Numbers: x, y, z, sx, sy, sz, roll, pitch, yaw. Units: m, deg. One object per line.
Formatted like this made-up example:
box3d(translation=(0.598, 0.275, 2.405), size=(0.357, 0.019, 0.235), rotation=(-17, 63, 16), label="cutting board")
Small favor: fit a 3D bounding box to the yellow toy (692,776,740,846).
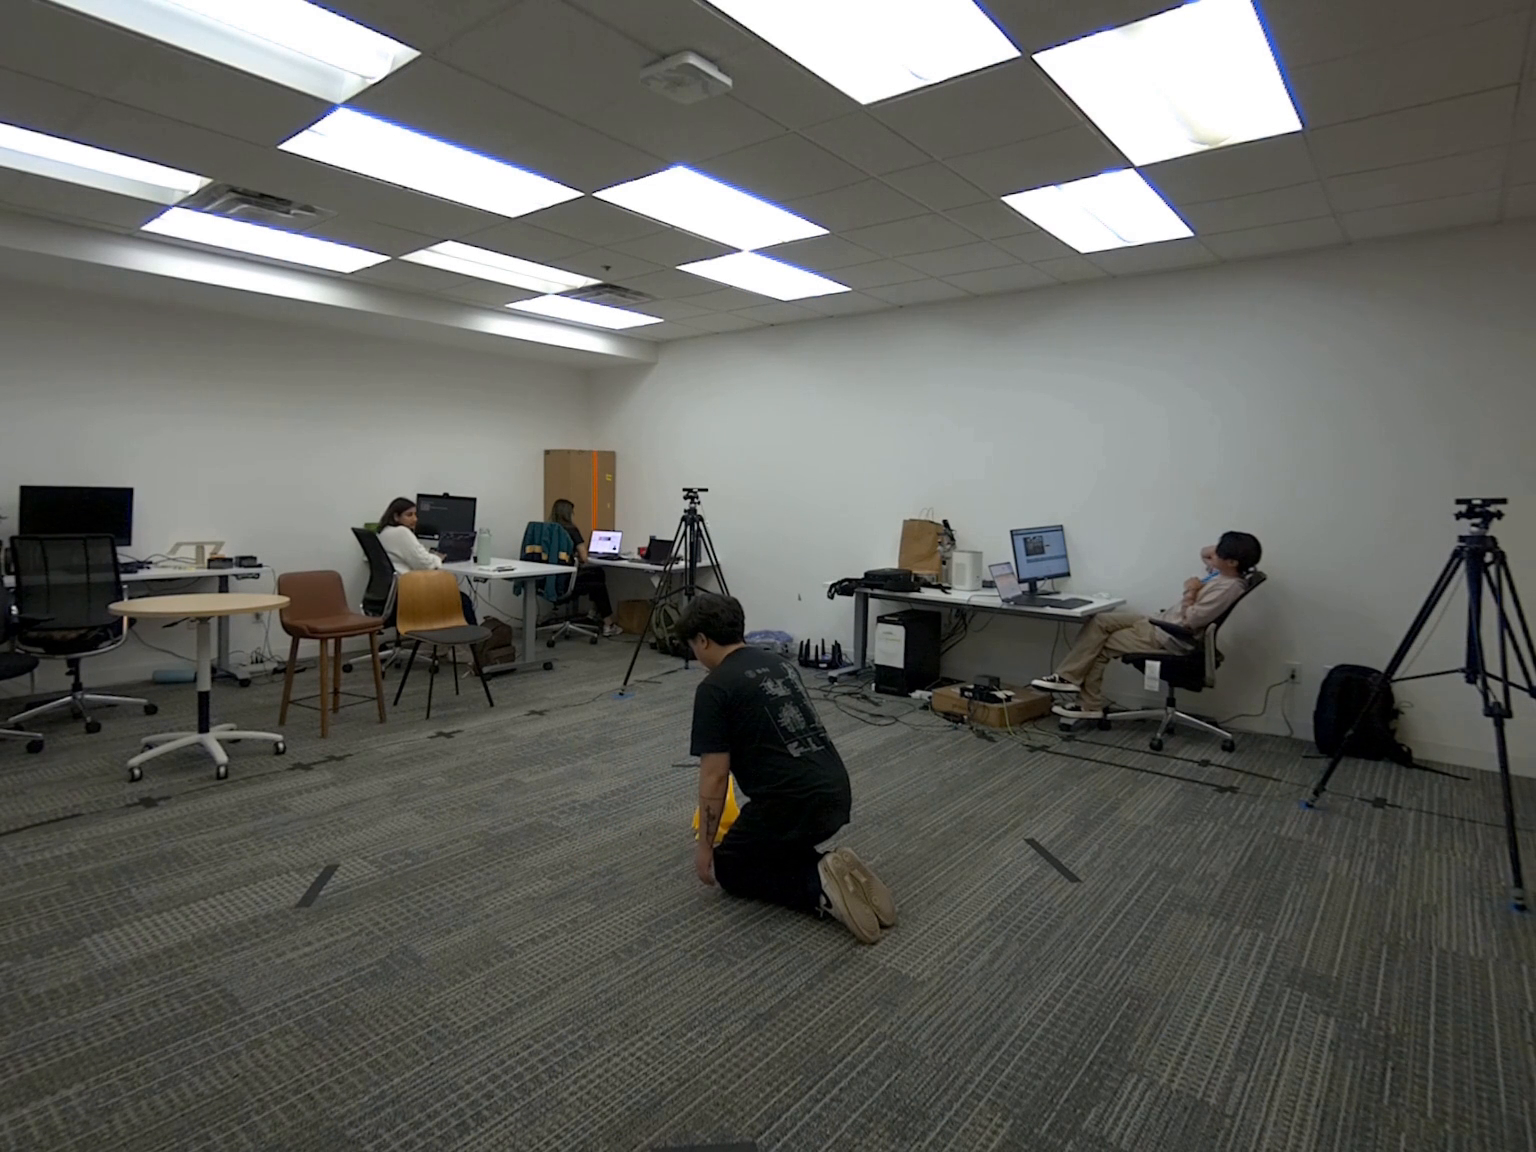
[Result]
box3d(translation=(-0.220, 0.919, 3.452), size=(0.191, 0.230, 0.207), rotation=(1, 4, -10), label="yellow toy")
